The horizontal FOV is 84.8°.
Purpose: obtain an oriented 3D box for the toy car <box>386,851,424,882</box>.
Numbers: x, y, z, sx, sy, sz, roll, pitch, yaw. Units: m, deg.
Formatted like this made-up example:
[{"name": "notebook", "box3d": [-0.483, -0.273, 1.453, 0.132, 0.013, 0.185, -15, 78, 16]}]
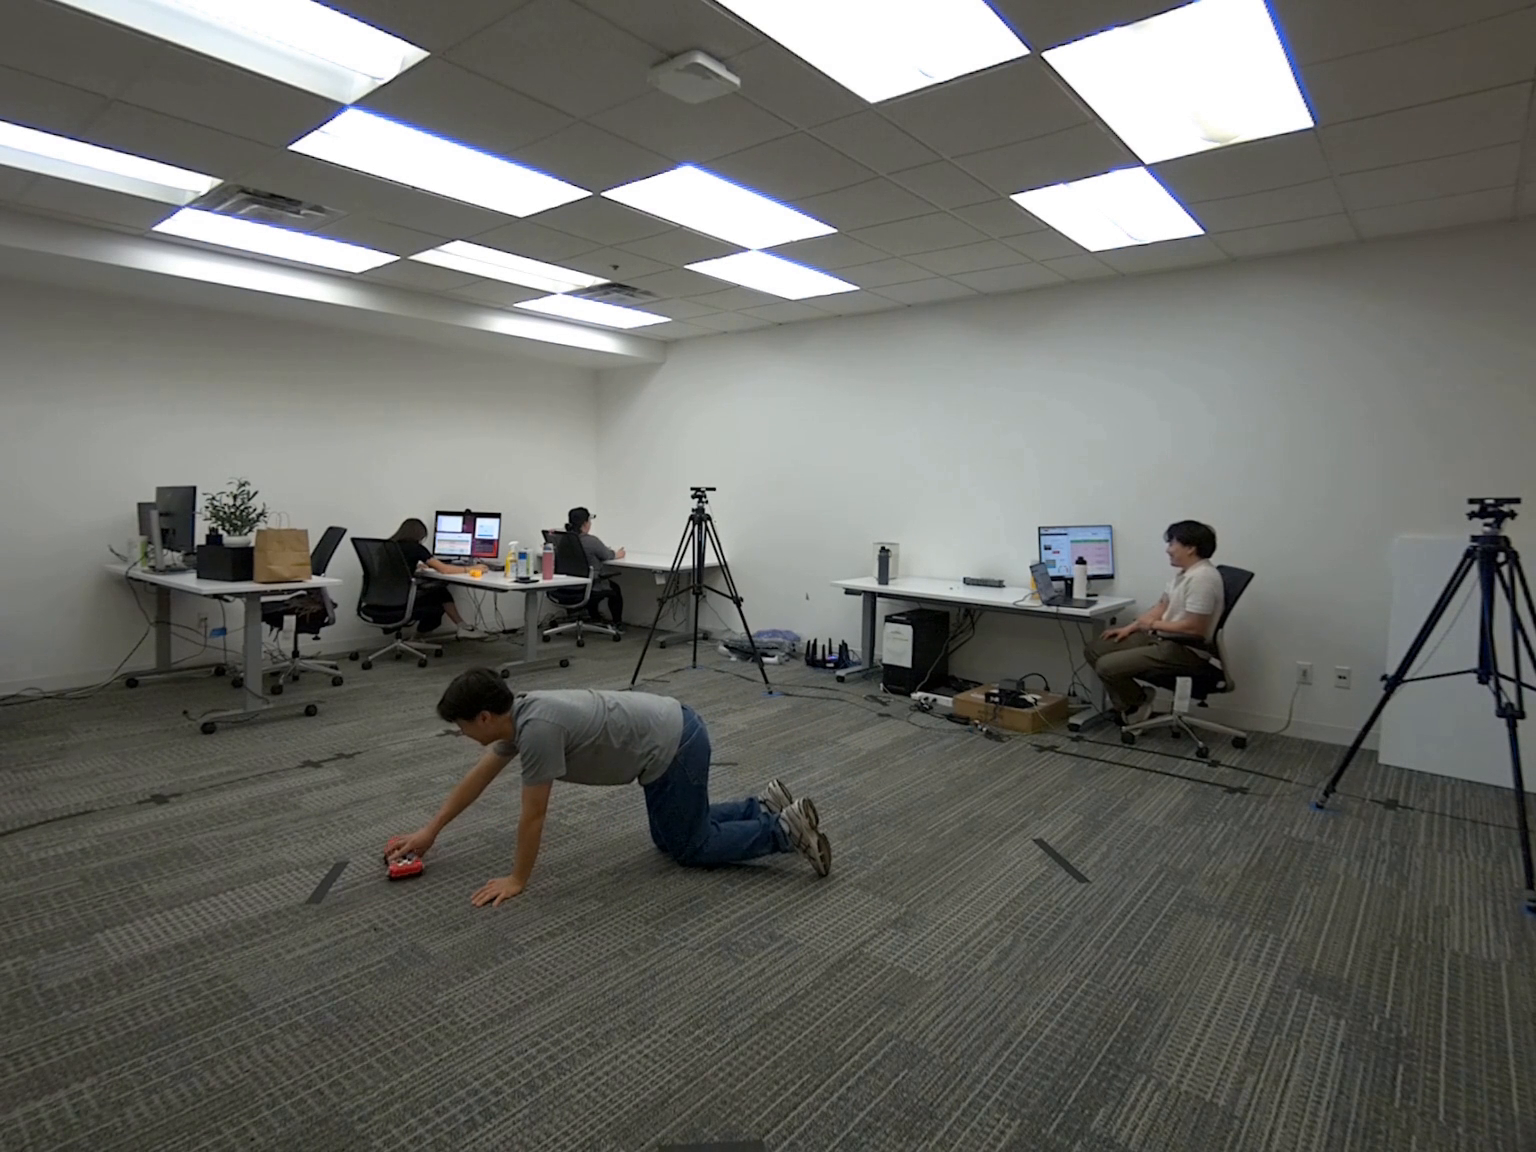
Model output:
[{"name": "toy car", "box3d": [-1.335, 1.021, 3.094, 0.127, 0.082, 0.264, -3, 16, -27]}]
